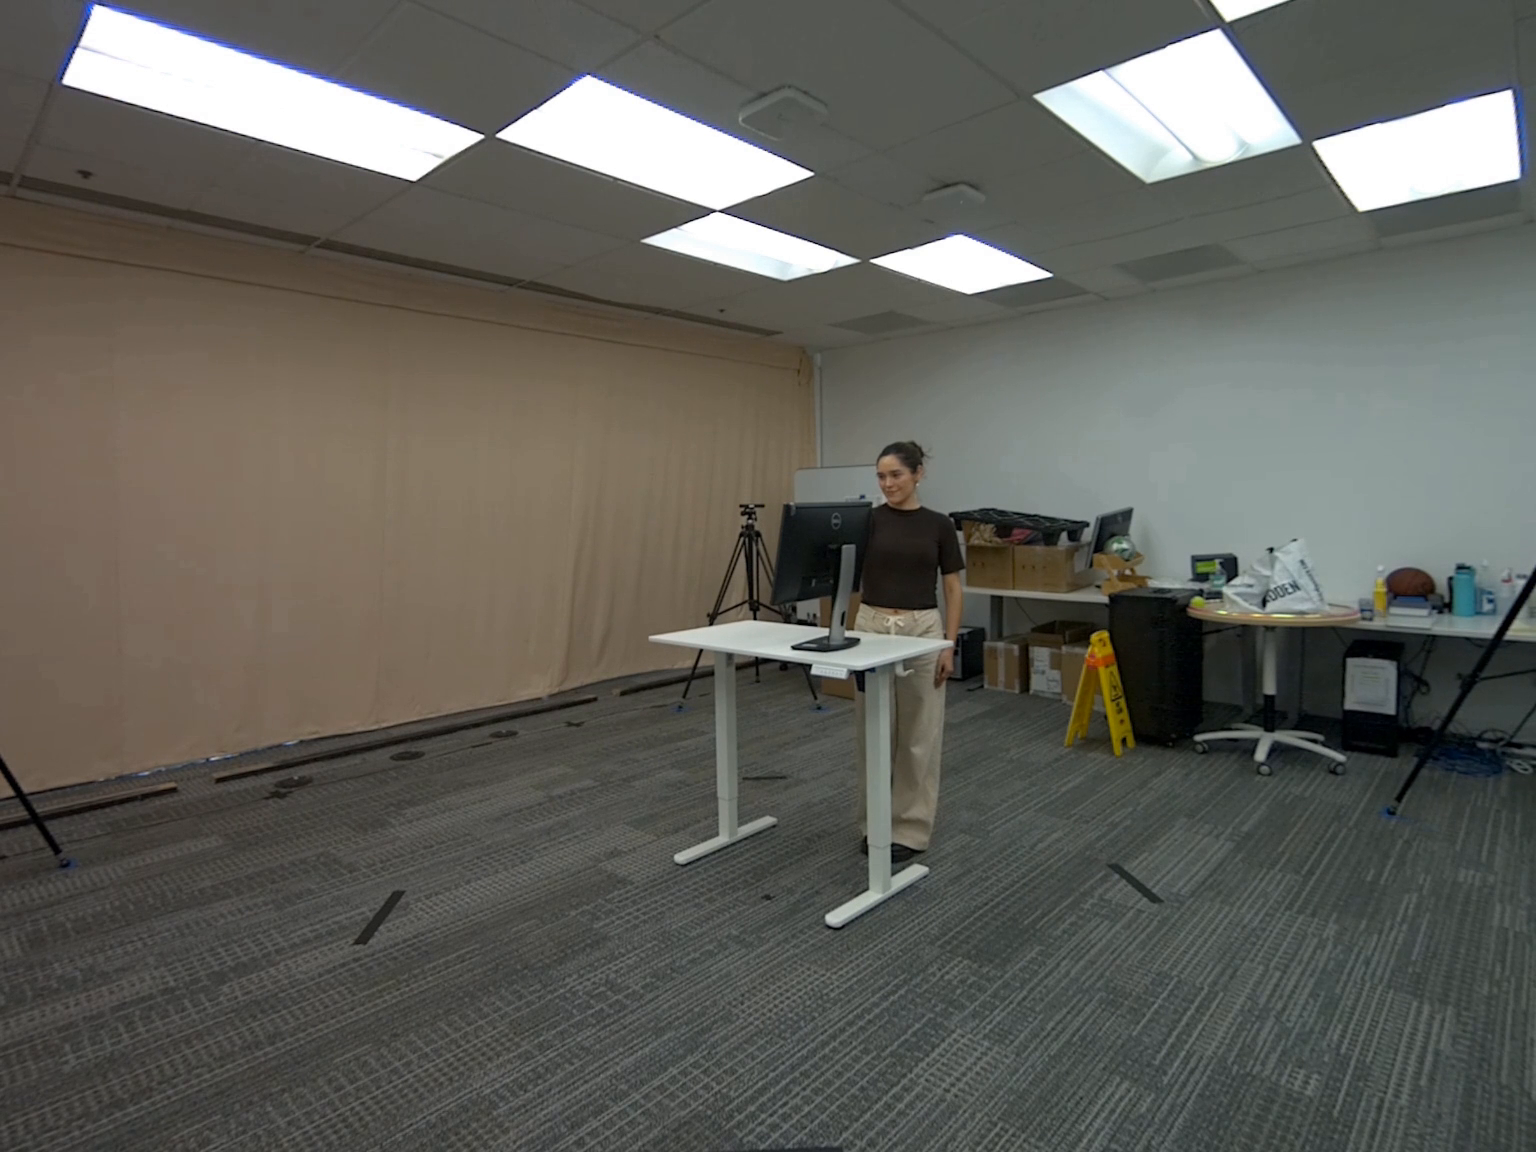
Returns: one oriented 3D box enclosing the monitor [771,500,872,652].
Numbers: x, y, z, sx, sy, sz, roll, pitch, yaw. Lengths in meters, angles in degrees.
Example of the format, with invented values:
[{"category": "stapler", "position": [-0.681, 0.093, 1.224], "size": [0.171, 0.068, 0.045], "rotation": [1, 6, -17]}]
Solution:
[{"category": "monitor", "position": [0.221, 0.002, 2.988], "size": [0.193, 0.521, 0.523], "rotation": [1, 5, 40]}]
